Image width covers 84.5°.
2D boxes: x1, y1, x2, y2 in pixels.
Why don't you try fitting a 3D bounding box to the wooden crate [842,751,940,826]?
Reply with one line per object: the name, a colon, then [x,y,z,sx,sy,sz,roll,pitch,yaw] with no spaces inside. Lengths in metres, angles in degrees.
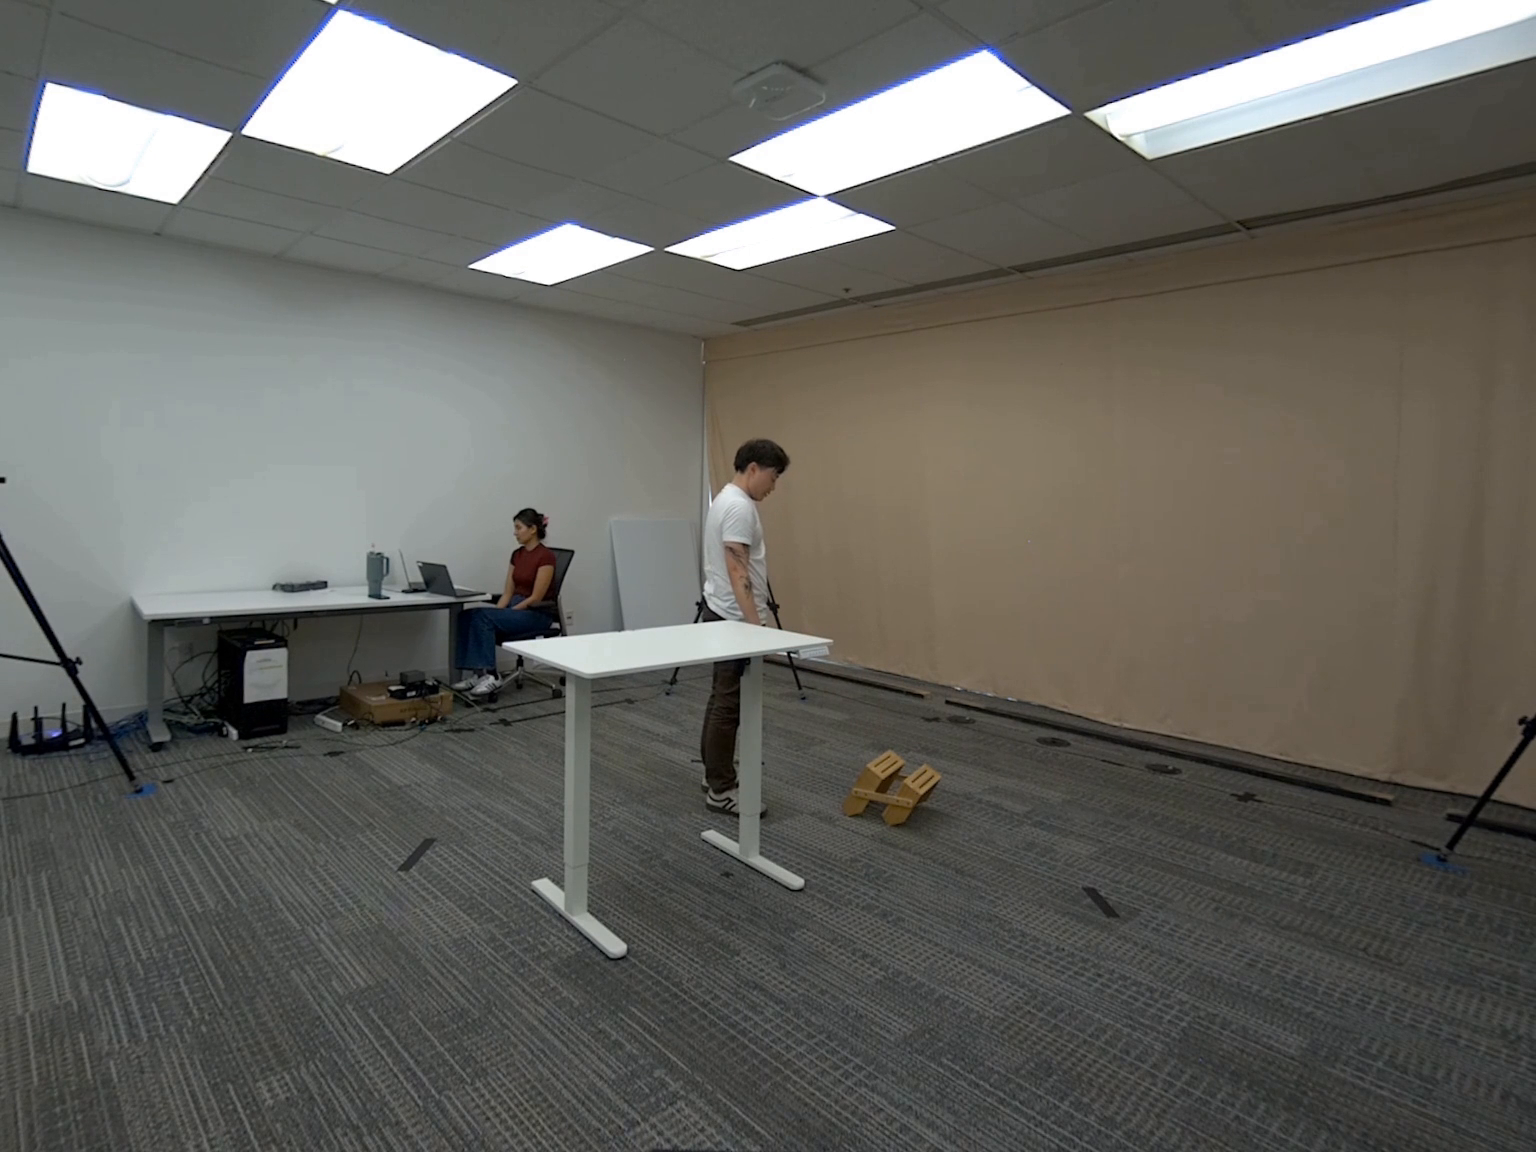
wooden crate: [0.541,0.972,3.762,0.280,0.300,0.318,34,18,24]
